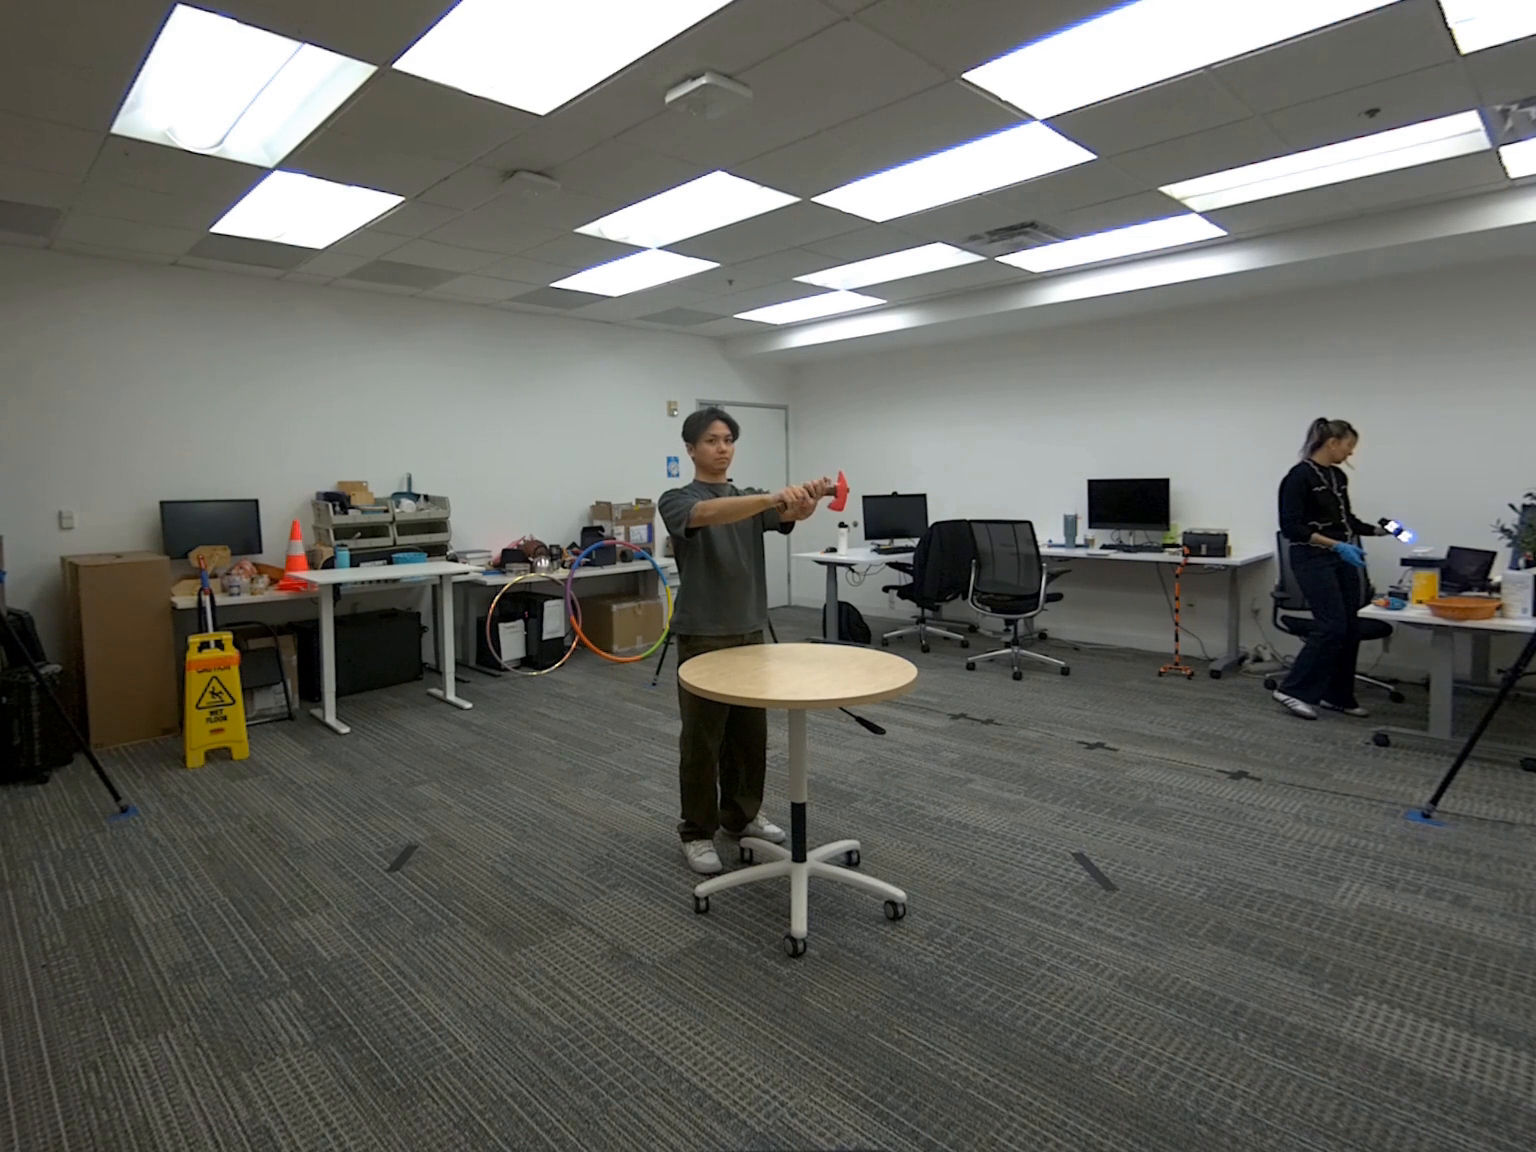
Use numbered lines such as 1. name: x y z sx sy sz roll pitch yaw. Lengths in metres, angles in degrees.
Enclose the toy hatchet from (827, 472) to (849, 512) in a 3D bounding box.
1. toy hatchet: 0.142 -0.245 2.784 0.268 0.128 0.030 -24 20 -12
